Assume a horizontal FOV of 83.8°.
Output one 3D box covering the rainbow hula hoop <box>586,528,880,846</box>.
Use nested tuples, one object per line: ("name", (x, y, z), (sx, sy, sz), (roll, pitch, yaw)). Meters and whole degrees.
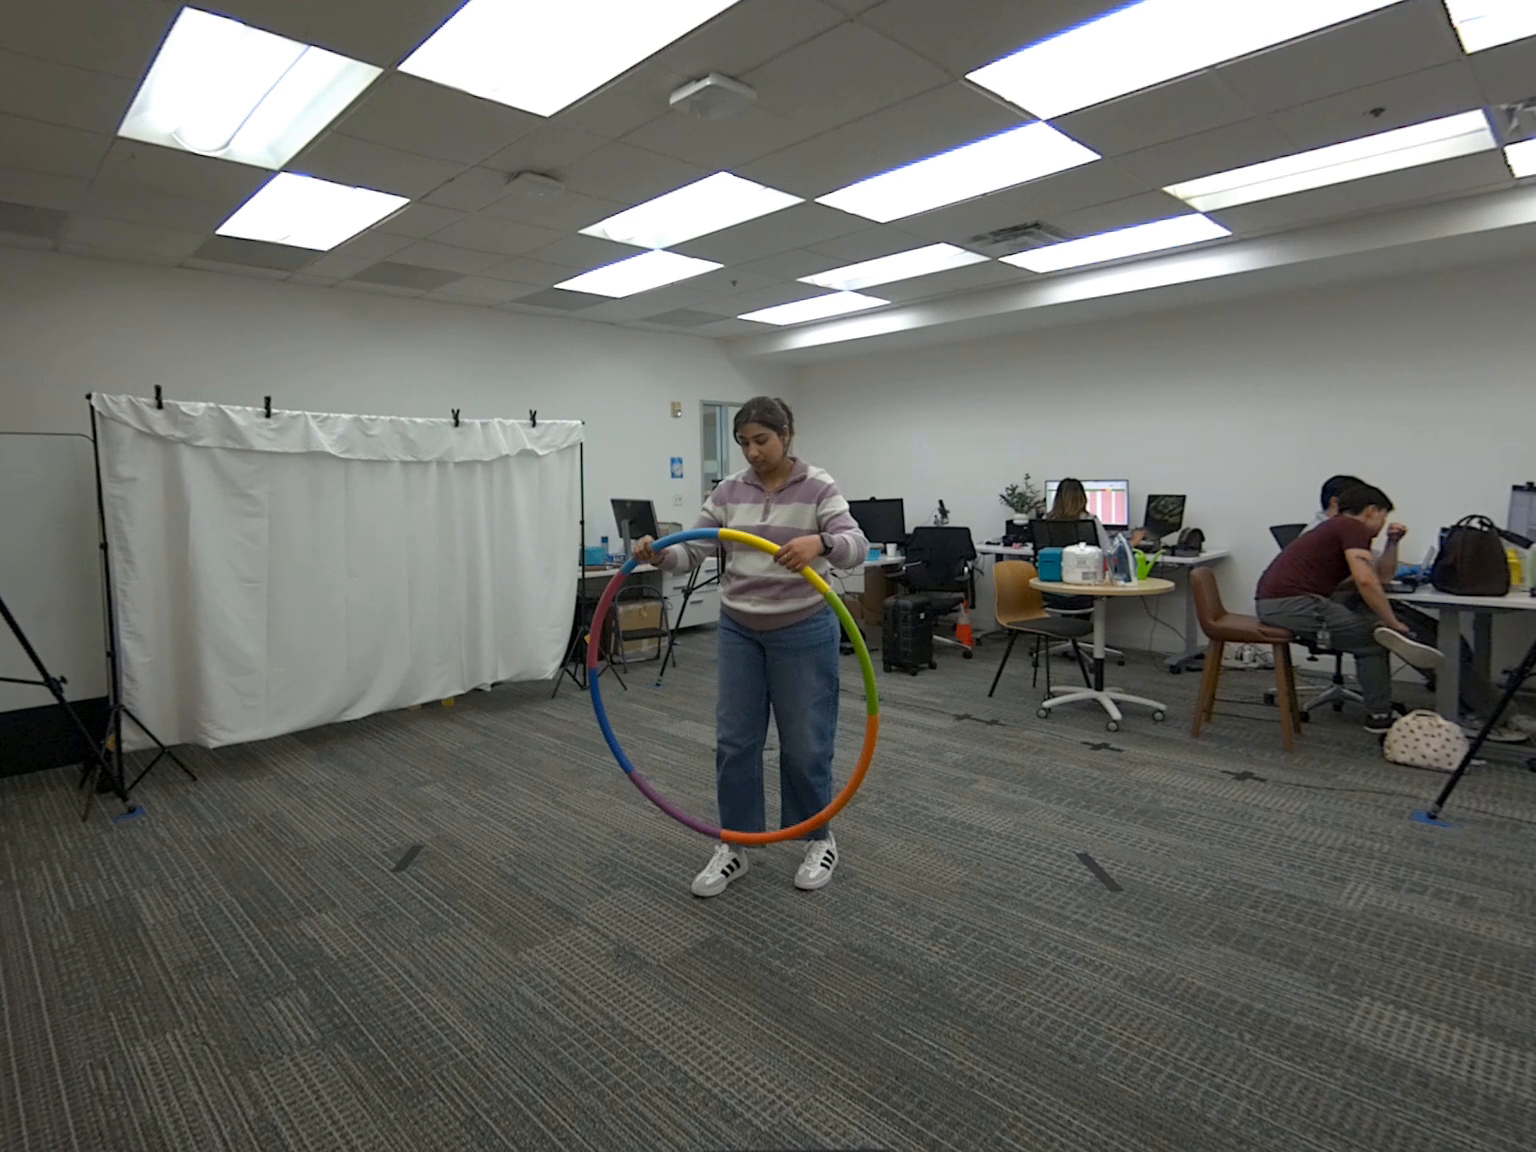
("rainbow hula hoop", (-0.137, 0.351, 2.615), (1.001, 0.969, 0.035), (1, 10, 26))
